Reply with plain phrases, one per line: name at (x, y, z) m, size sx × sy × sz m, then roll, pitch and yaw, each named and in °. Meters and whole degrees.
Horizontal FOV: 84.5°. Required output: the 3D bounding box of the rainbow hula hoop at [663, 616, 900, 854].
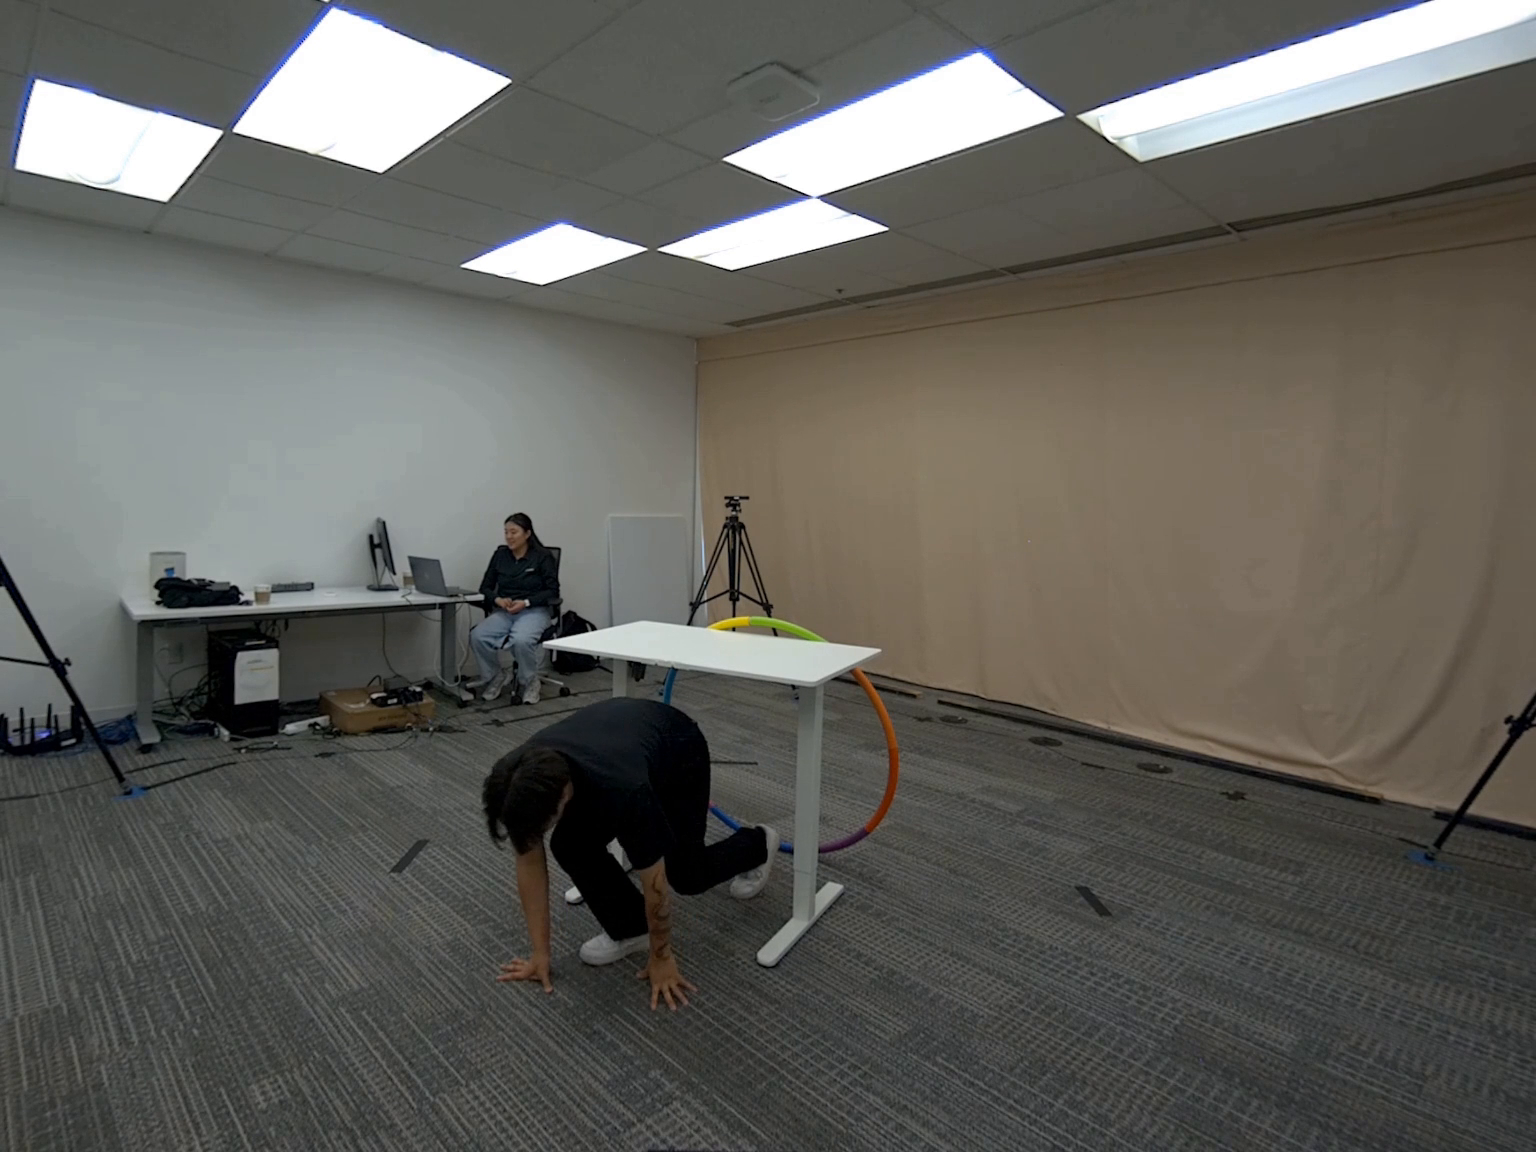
rainbow hula hoop at (0.010, 0.625, 3.231) m, size 0.999 × 0.968 × 0.035 m, roll 4°, pitch 16°, yaw 29°
